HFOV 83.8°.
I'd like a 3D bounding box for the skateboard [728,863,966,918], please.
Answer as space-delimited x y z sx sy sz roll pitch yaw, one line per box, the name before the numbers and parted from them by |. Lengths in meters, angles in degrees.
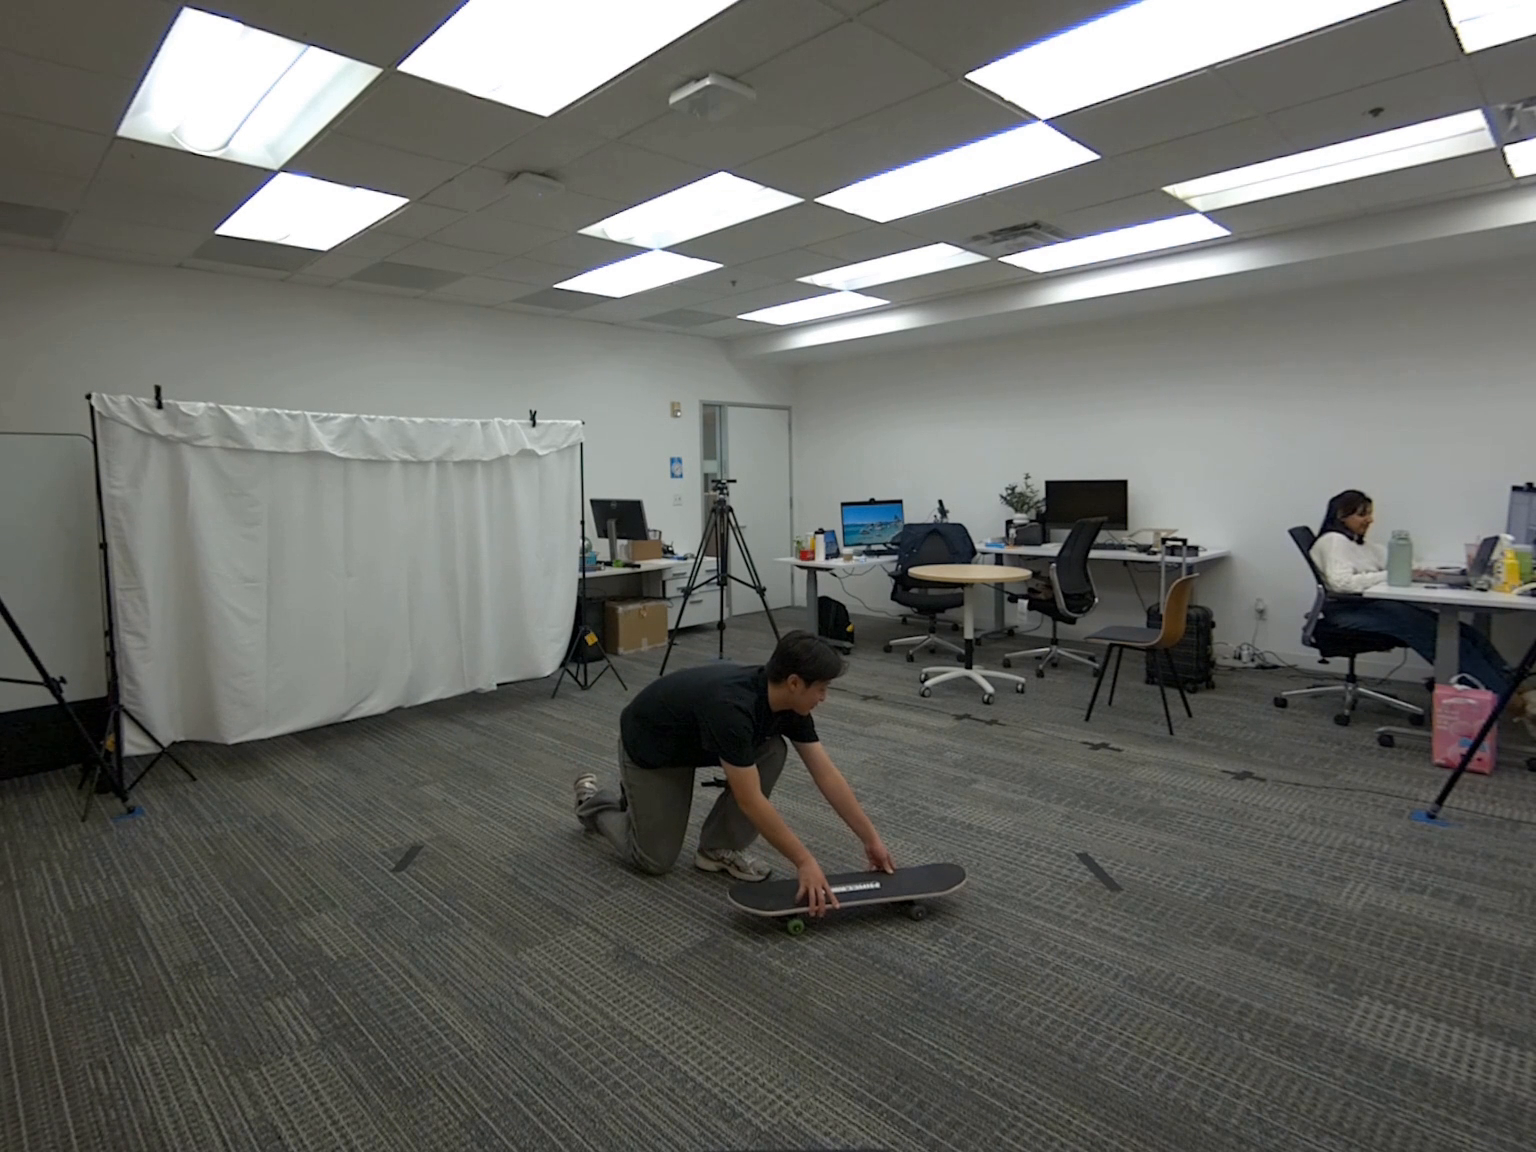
skateboard | 0.263 1.029 2.727 0.778 0.110 0.196 -3 6 -10
